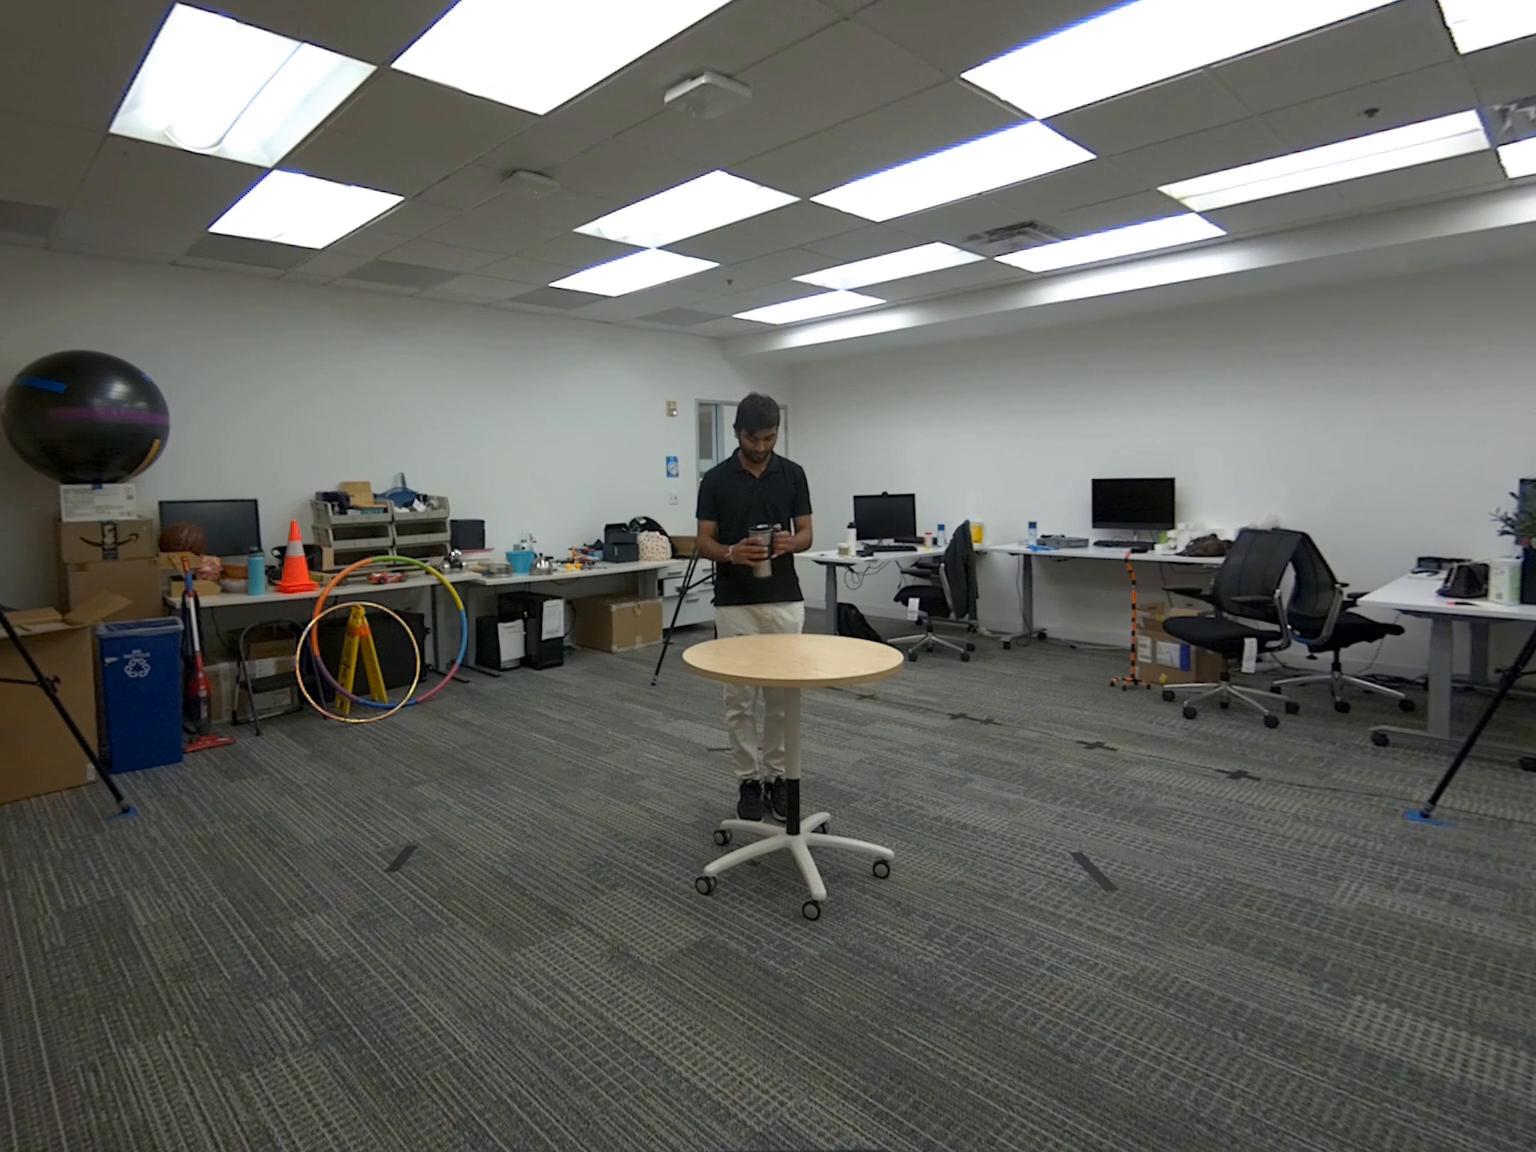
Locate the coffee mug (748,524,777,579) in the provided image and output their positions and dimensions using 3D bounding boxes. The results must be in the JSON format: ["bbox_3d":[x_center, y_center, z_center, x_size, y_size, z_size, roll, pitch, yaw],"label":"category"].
[{"bbox_3d":[-0.019,-0.086,3.247,0.125,0.201,0.086,-3,10,33],"label":"coffee mug"}]
